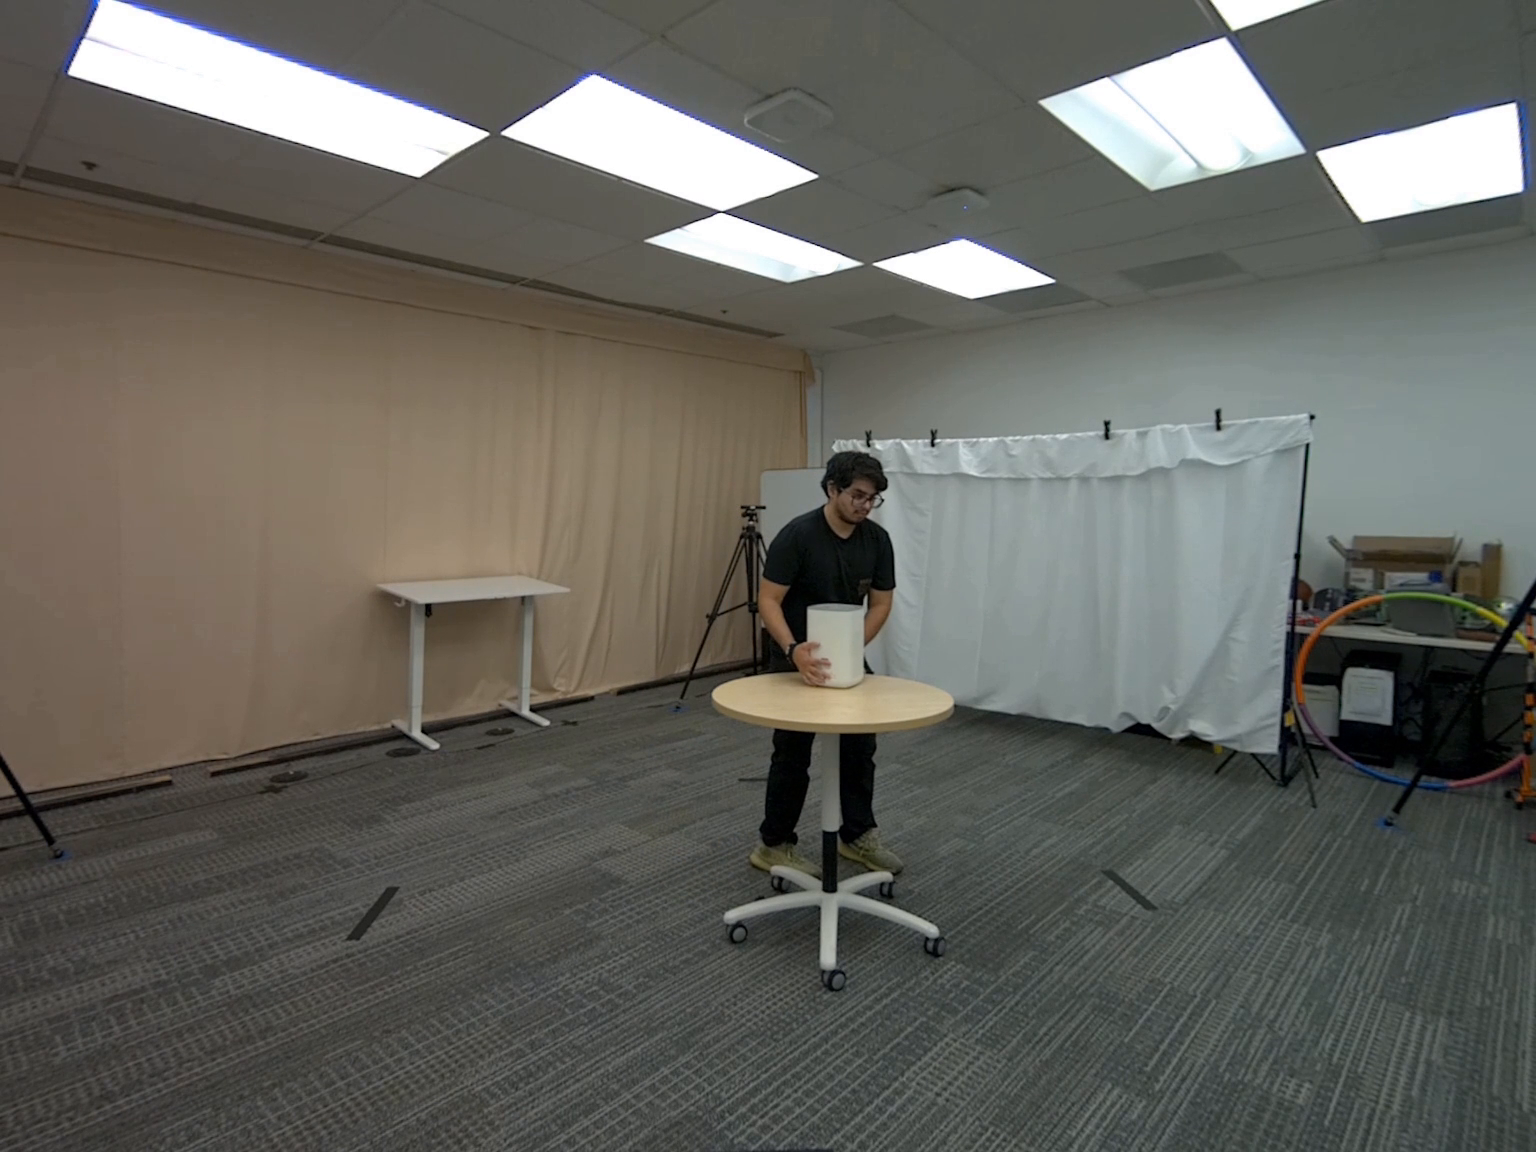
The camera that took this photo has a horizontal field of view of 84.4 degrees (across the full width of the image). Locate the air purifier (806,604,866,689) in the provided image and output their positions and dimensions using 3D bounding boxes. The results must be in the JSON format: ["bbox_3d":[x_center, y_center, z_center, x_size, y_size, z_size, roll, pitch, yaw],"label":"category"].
[{"bbox_3d":[0.235,0.235,2.874,0.175,0.265,0.167,3,4,25],"label":"air purifier"}]
